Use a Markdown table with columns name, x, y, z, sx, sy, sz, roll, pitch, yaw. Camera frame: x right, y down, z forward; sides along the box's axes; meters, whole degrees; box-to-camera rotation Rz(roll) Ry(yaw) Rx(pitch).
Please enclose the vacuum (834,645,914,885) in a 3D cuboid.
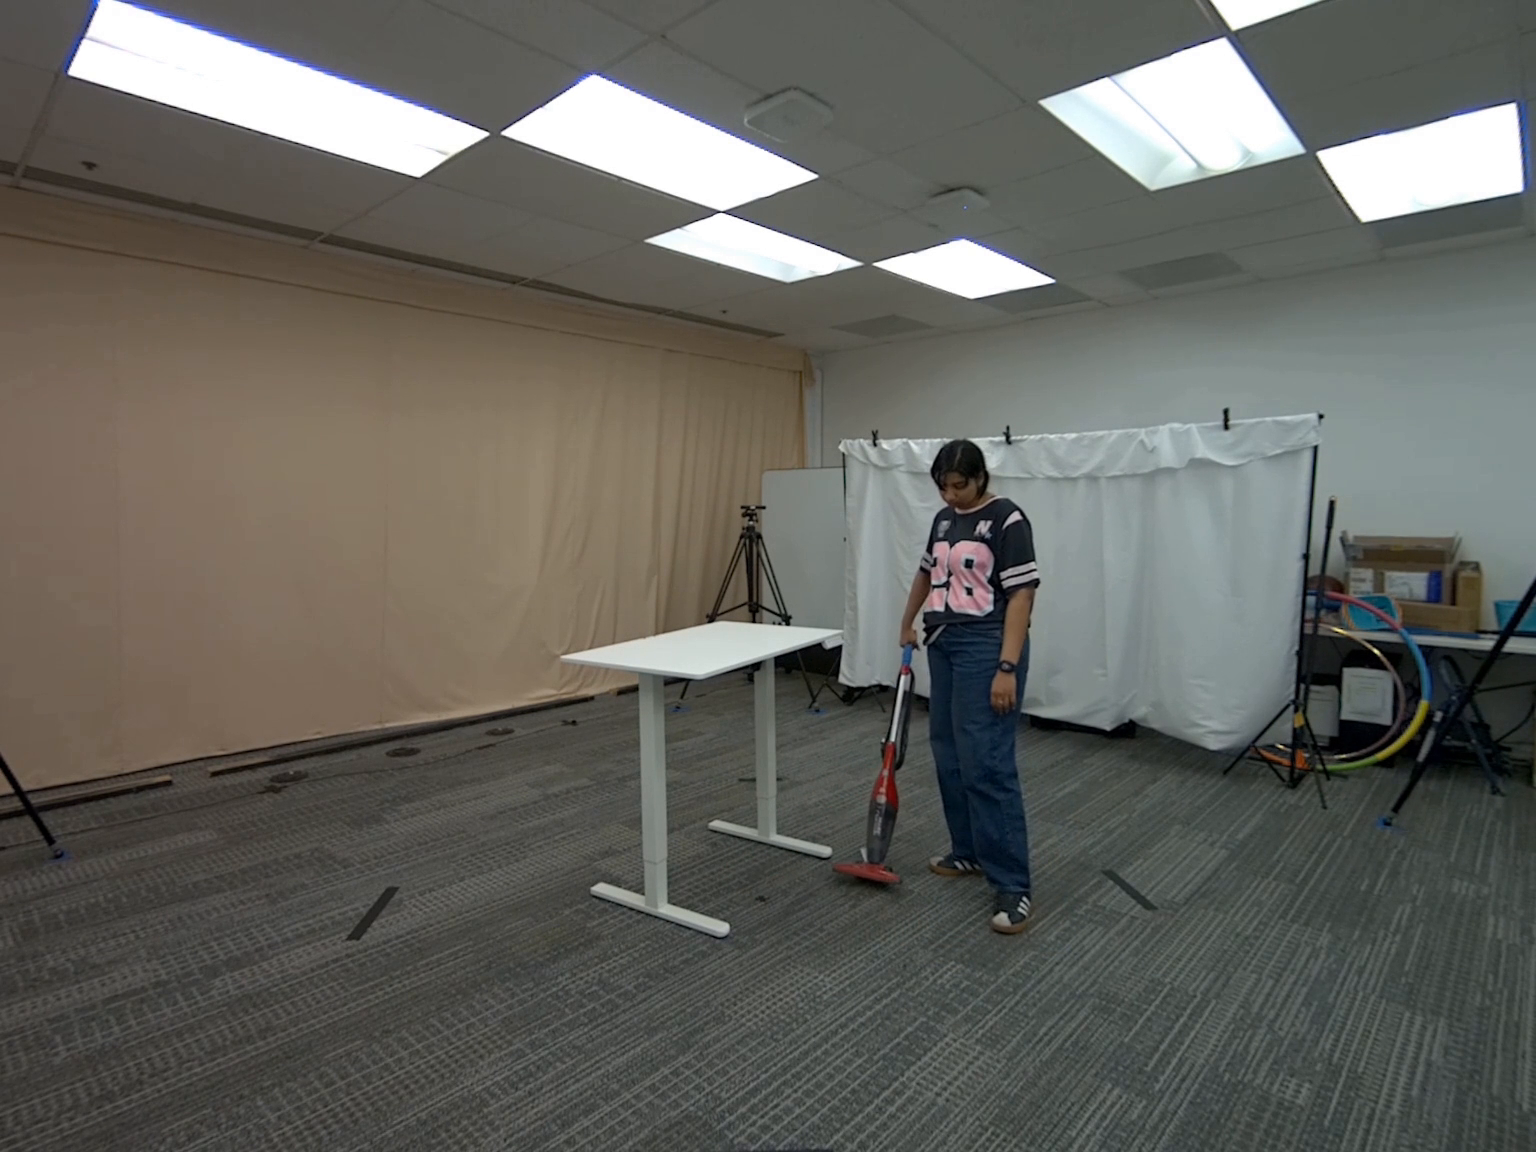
| name | x | y | z | sx | sy | sz | roll | pitch | yaw |
| --- | --- | --- | --- | --- | --- | --- | --- | --- | --- |
| vacuum | 0.512 | 0.685 | 3.371 | 0.259 | 1.055 | 0.139 | 4 | -34 | 23 |
